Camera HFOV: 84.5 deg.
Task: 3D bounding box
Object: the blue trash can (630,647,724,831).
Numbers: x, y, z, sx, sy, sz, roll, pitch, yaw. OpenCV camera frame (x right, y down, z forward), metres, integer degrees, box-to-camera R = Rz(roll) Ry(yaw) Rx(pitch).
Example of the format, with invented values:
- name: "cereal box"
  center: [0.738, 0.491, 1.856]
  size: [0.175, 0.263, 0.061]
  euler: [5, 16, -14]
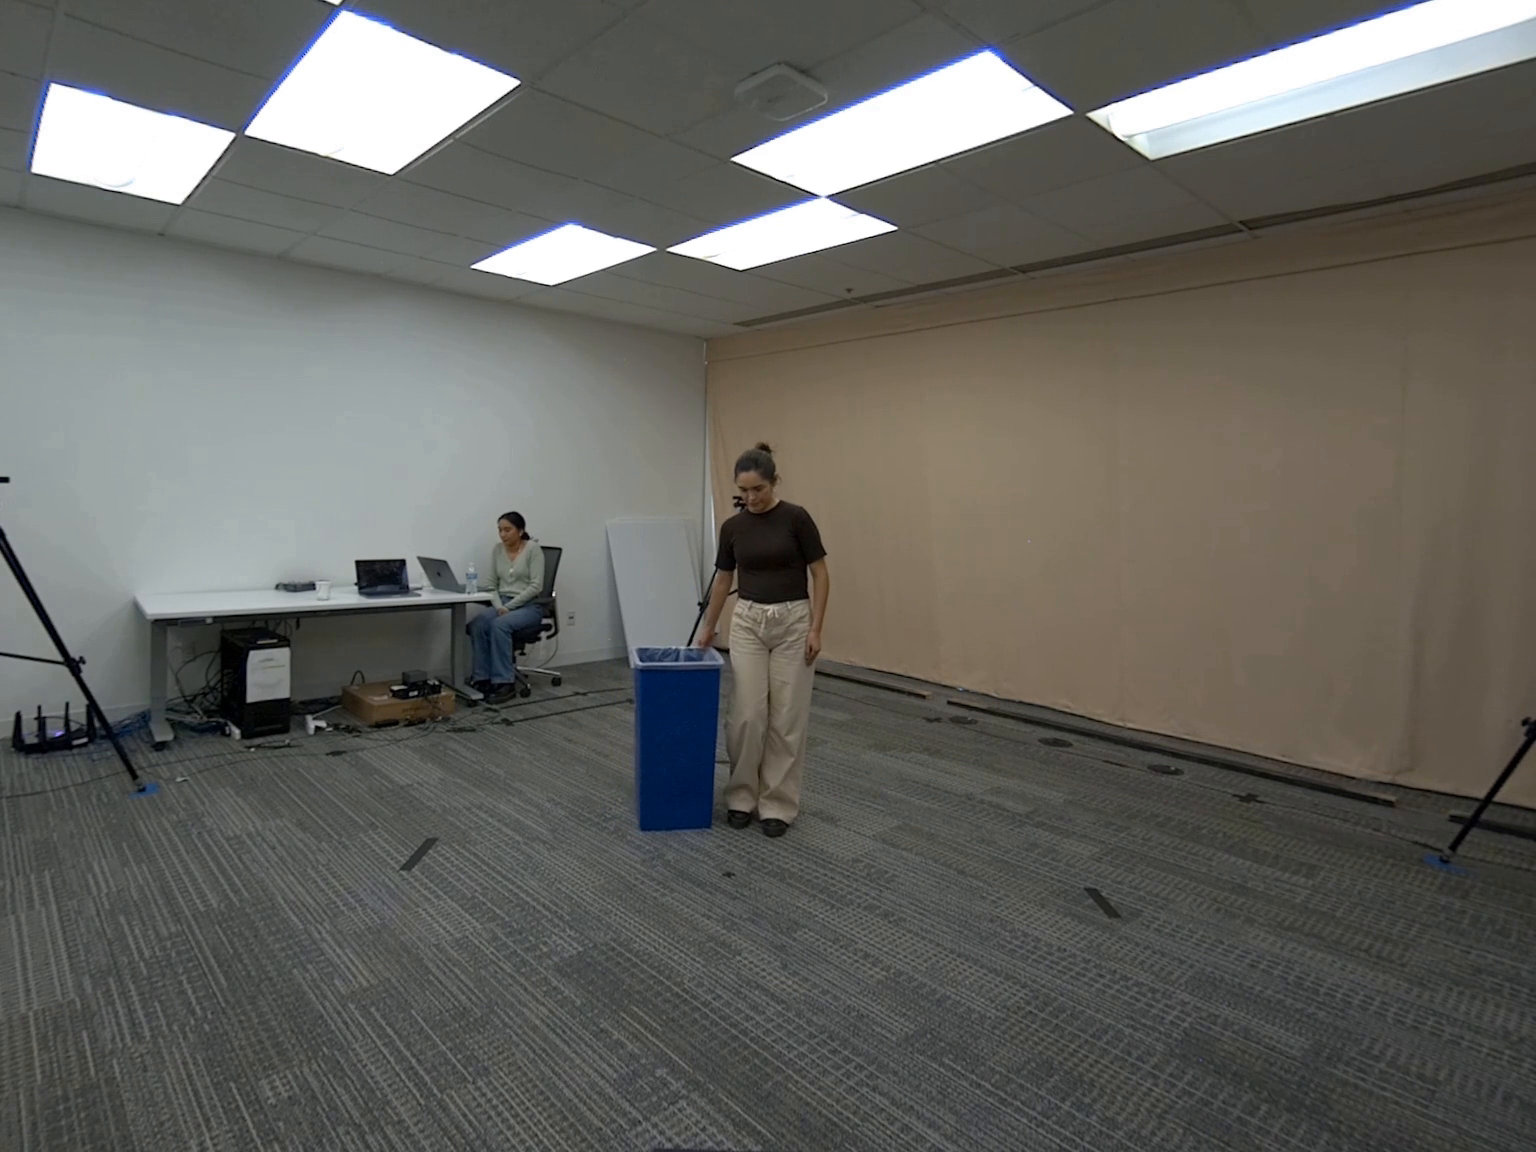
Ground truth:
- name: "blue trash can"
  center: [-0.417, 0.690, 3.636]
  size: [0.370, 0.712, 0.383]
  euler: [1, 4, -13]
